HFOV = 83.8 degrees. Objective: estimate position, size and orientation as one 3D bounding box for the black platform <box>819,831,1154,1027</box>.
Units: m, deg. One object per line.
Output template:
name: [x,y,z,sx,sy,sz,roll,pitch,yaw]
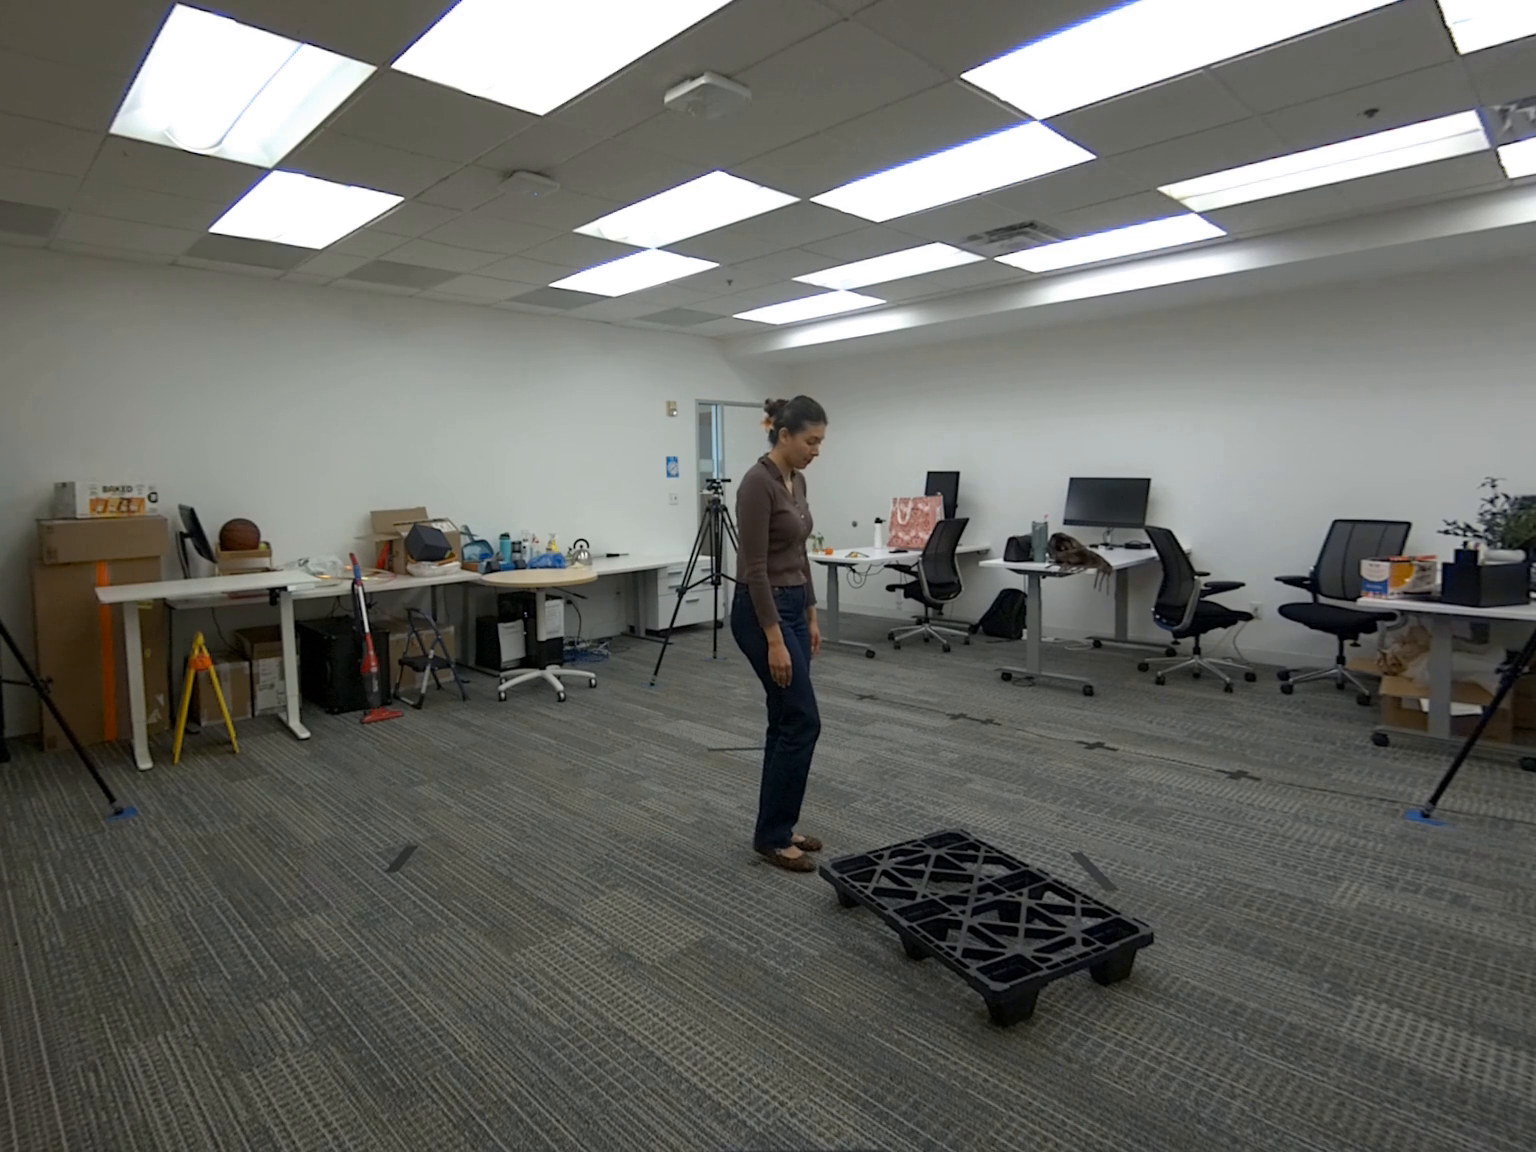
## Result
black platform: [0.625,1.025,2.587,0.592,0.142,0.828,-4,7,-28]
